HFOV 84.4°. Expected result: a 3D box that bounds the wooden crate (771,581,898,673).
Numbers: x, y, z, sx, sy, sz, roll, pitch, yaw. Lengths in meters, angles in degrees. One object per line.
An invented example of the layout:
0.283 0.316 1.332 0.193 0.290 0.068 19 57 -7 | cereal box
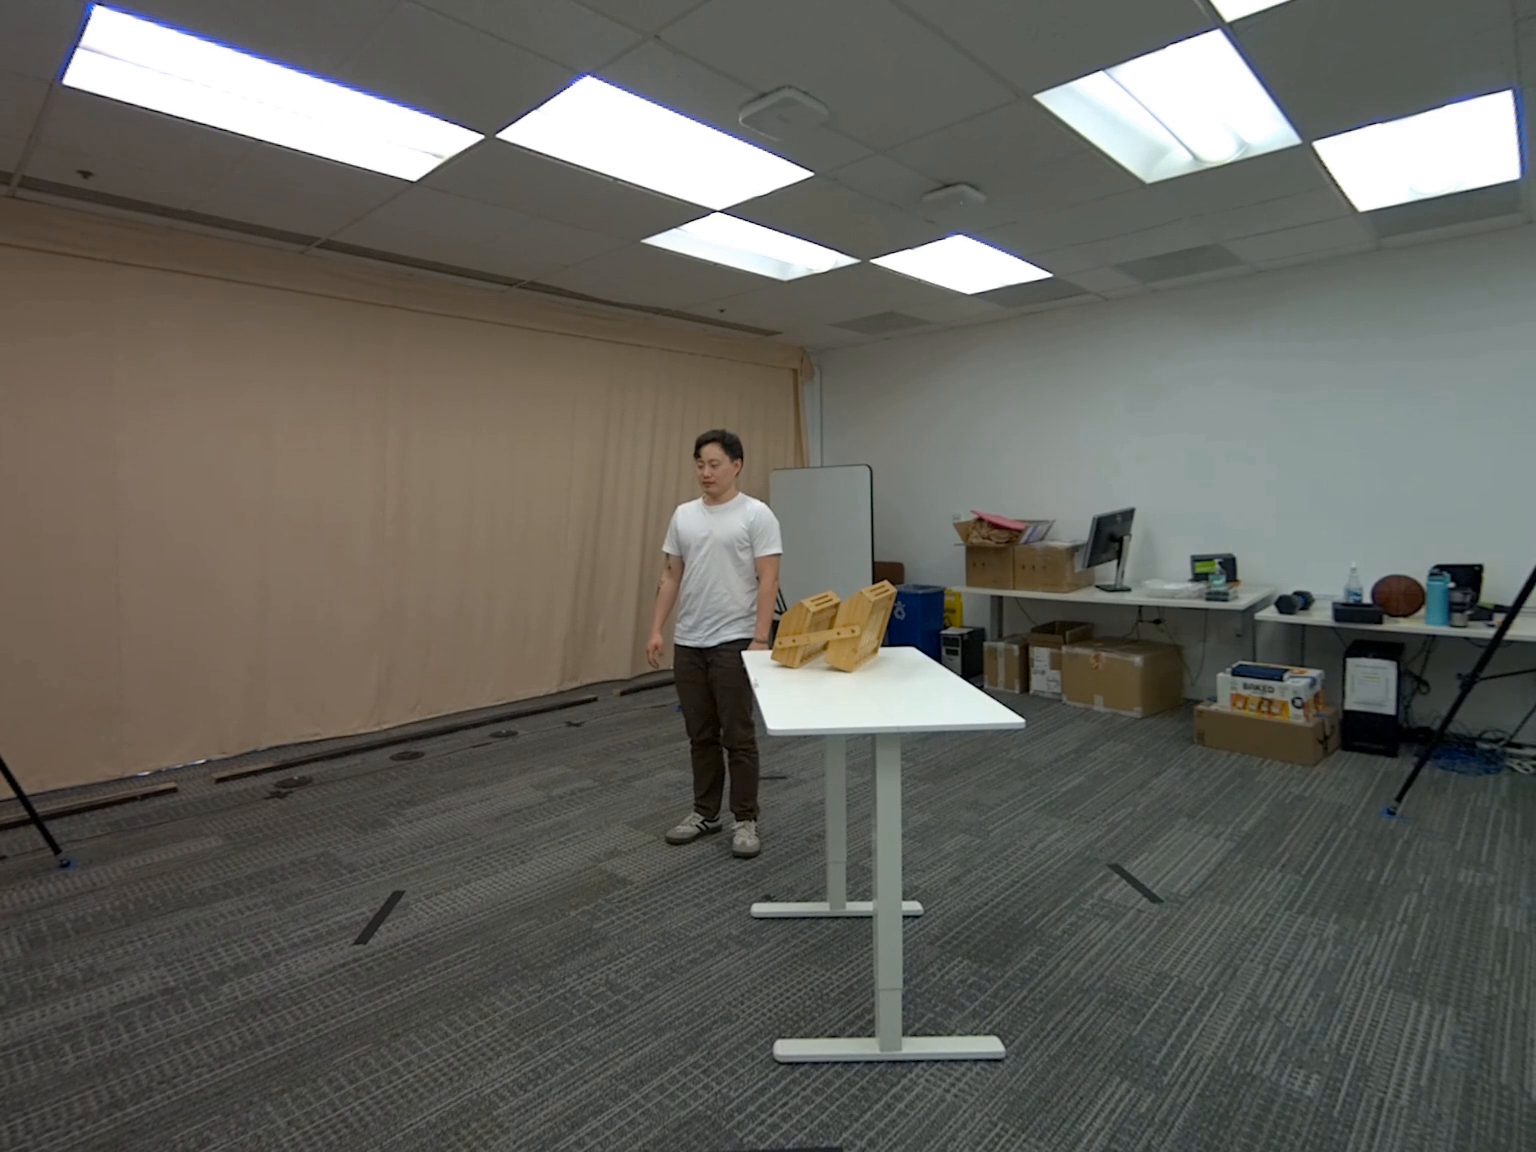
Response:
0.218 0.144 2.688 0.280 0.301 0.317 19 11 21 | wooden crate
